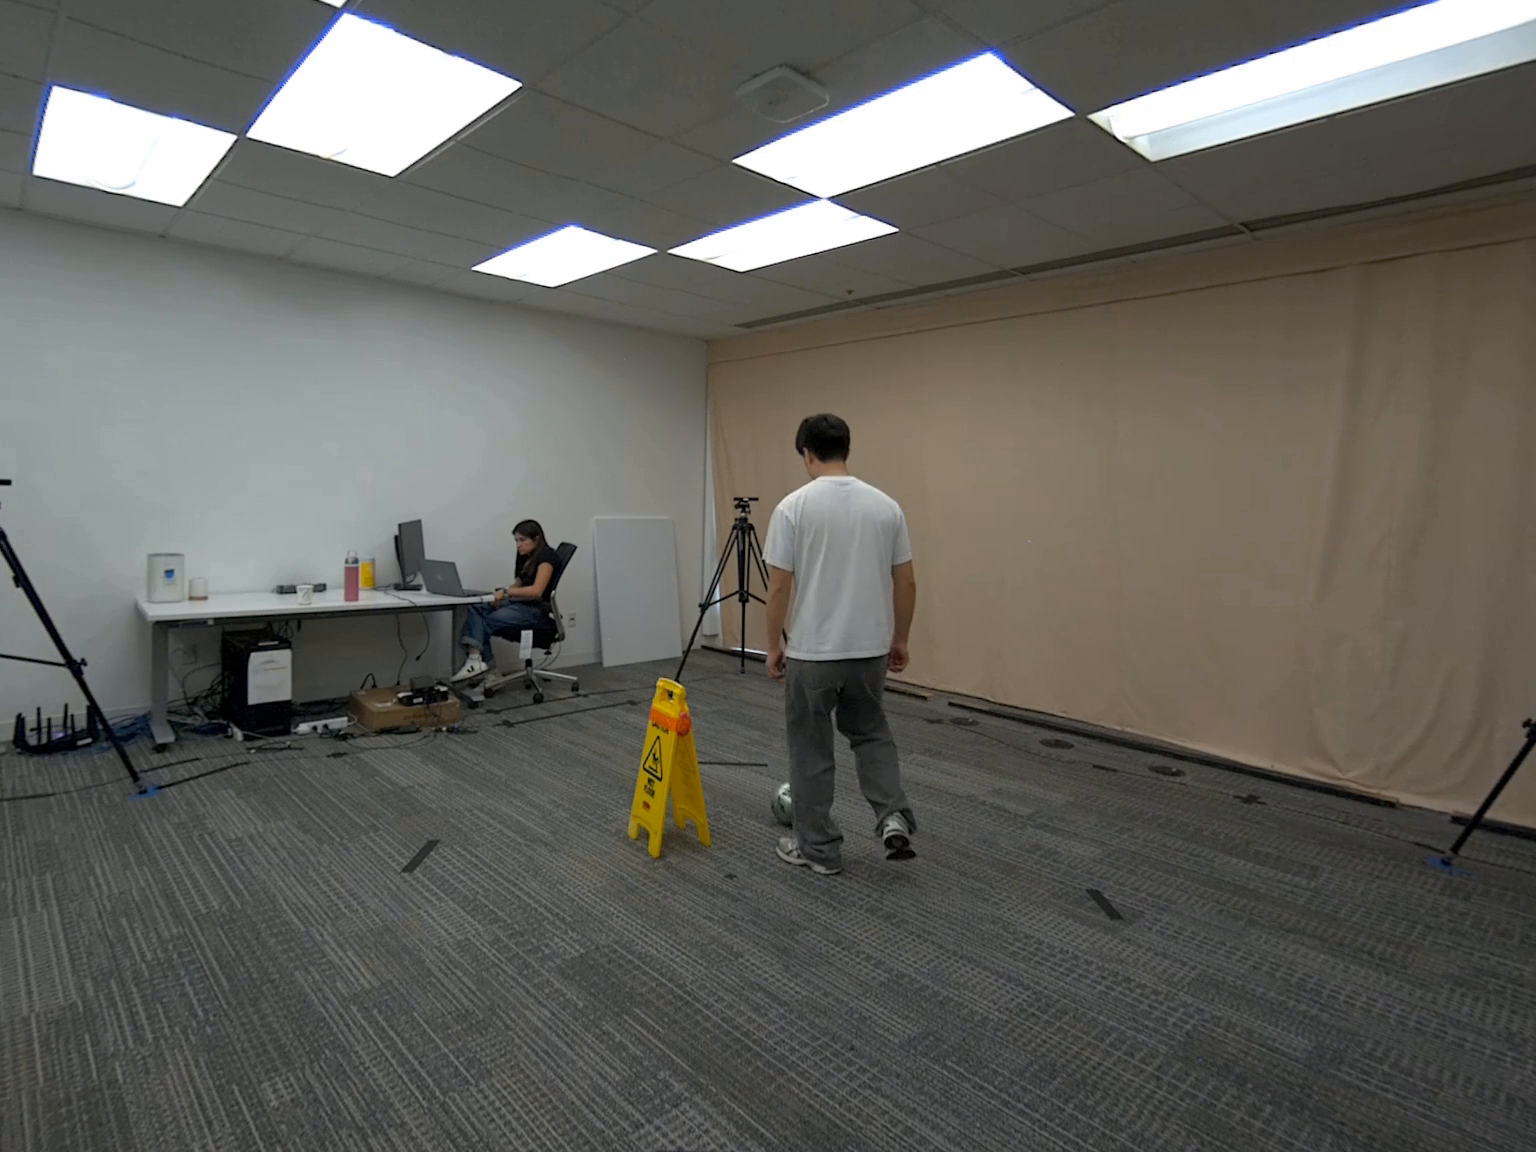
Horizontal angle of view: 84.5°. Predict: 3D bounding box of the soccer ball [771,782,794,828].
[{"bbox_3d":[0.095,0.979,3.617,0.187,0.187,0.188,1,4,-1],"label":"soccer ball"}]
